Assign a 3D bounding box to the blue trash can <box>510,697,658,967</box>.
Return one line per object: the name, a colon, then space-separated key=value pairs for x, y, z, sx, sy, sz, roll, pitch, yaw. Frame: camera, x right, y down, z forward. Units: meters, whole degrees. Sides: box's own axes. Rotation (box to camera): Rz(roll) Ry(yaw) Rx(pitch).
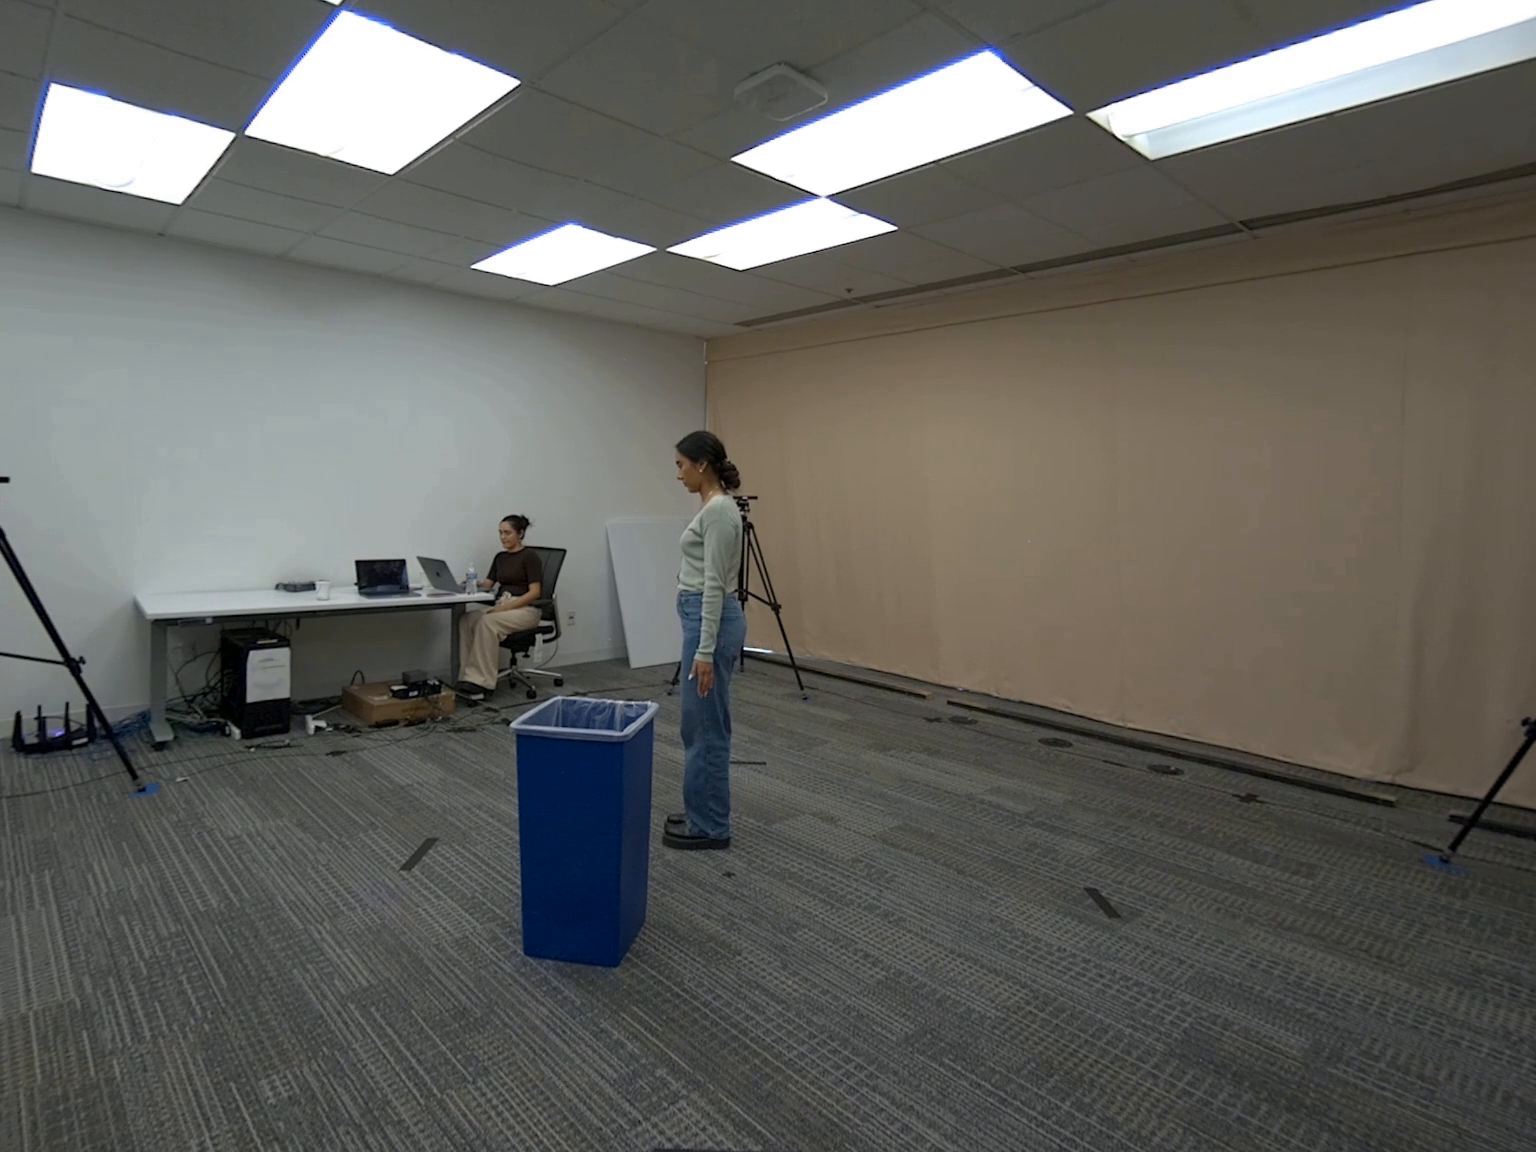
blue trash can: x=-0.584 y=0.783 z=2.614 sx=0.377 sy=0.711 sz=0.376 roll=2 pitch=4 yaw=10
